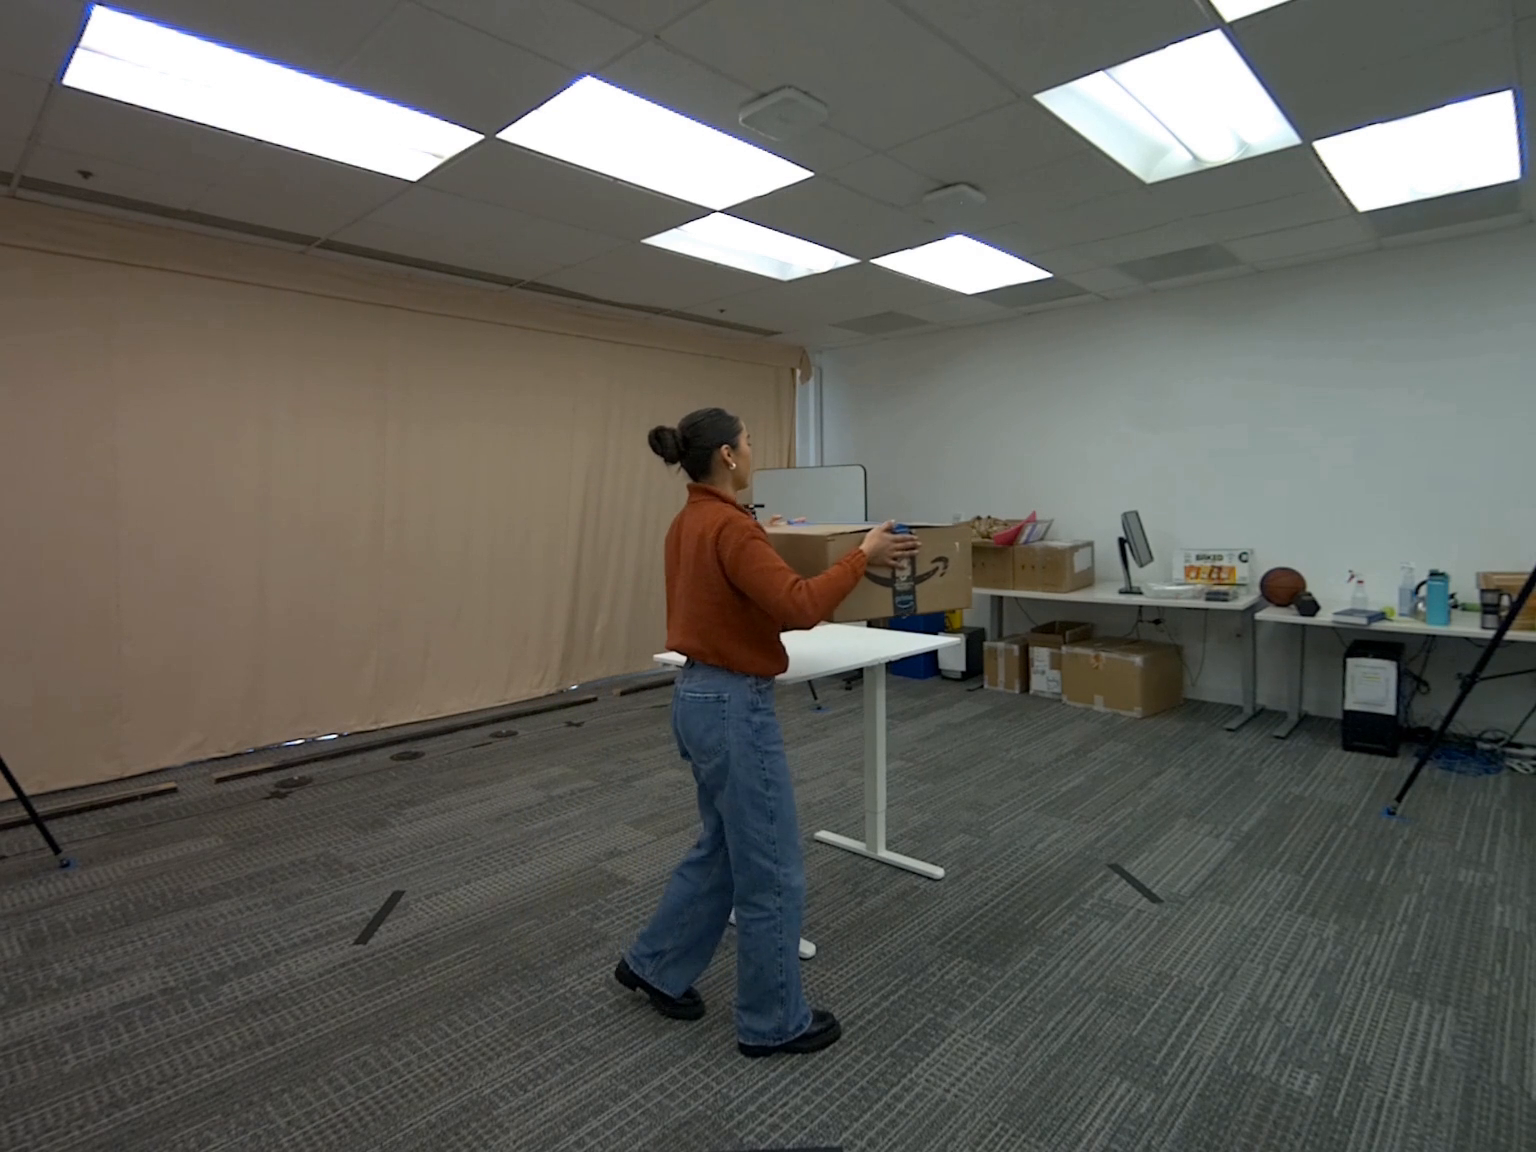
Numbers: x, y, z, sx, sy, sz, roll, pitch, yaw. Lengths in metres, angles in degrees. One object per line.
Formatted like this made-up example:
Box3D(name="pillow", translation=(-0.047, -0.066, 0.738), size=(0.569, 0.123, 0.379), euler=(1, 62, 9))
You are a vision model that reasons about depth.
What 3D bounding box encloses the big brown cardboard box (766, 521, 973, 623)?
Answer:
Box3D(name="big brown cardboard box", translation=(0.211, -0.031, 2.320), size=(0.408, 0.232, 0.604), euler=(-4, 4, -25))
